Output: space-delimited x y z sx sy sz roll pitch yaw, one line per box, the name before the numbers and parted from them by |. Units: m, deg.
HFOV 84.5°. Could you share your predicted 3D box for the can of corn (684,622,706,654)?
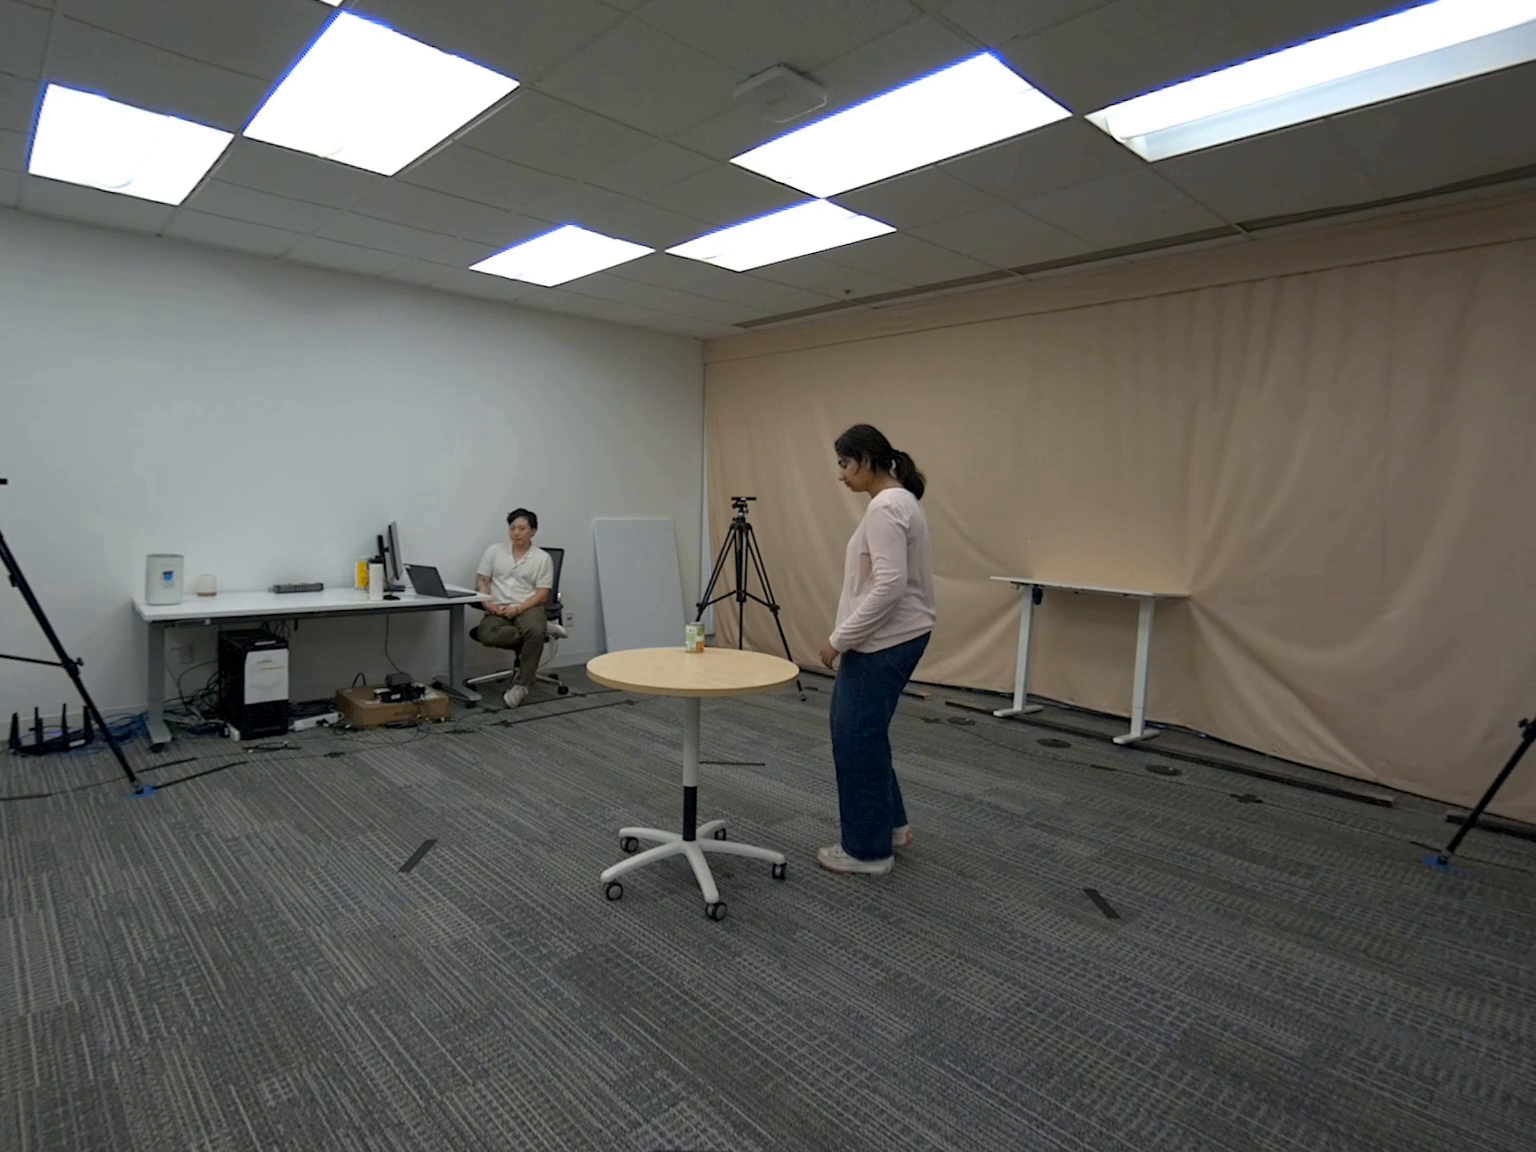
can of corn | -0.291 0.240 3.325 0.074 0.111 0.074 2 3 -1
